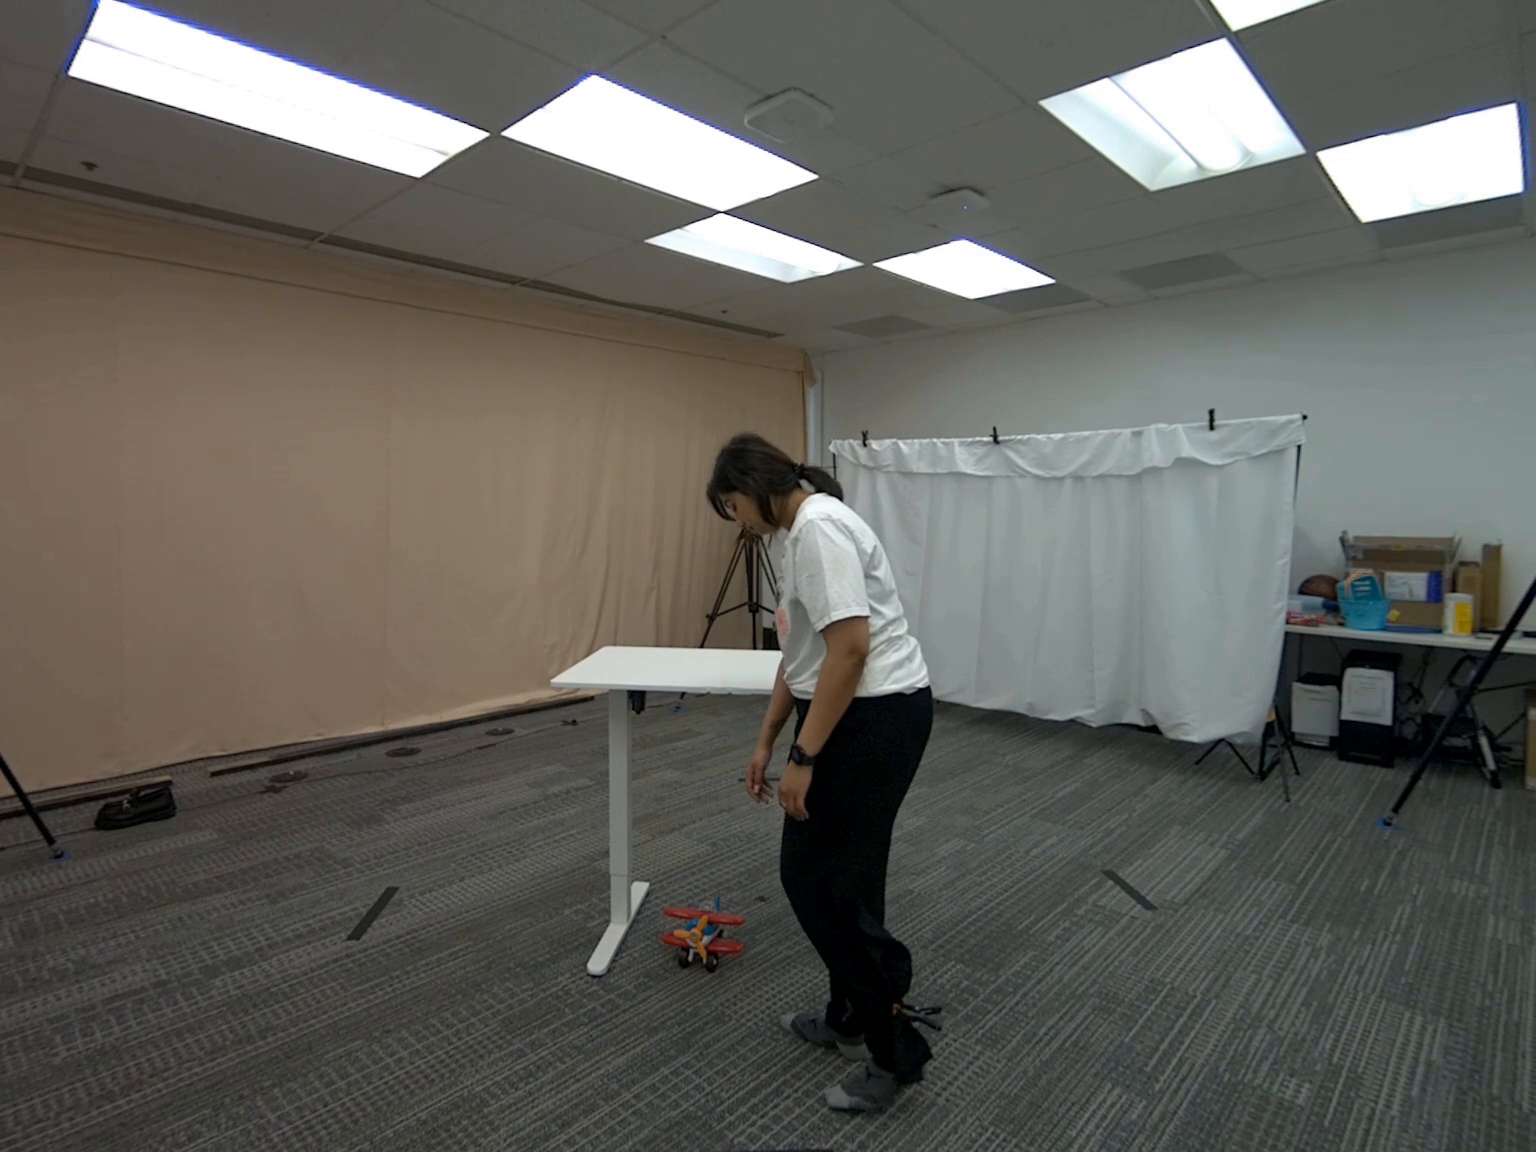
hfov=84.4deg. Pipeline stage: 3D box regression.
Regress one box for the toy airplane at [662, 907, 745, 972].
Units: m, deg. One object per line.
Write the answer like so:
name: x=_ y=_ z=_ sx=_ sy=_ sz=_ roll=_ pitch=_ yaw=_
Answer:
toy airplane: x=-0.205 y=1.104 z=2.612 sx=0.248 sy=0.156 sz=0.263 roll=-1 pitch=5 yaw=-12
